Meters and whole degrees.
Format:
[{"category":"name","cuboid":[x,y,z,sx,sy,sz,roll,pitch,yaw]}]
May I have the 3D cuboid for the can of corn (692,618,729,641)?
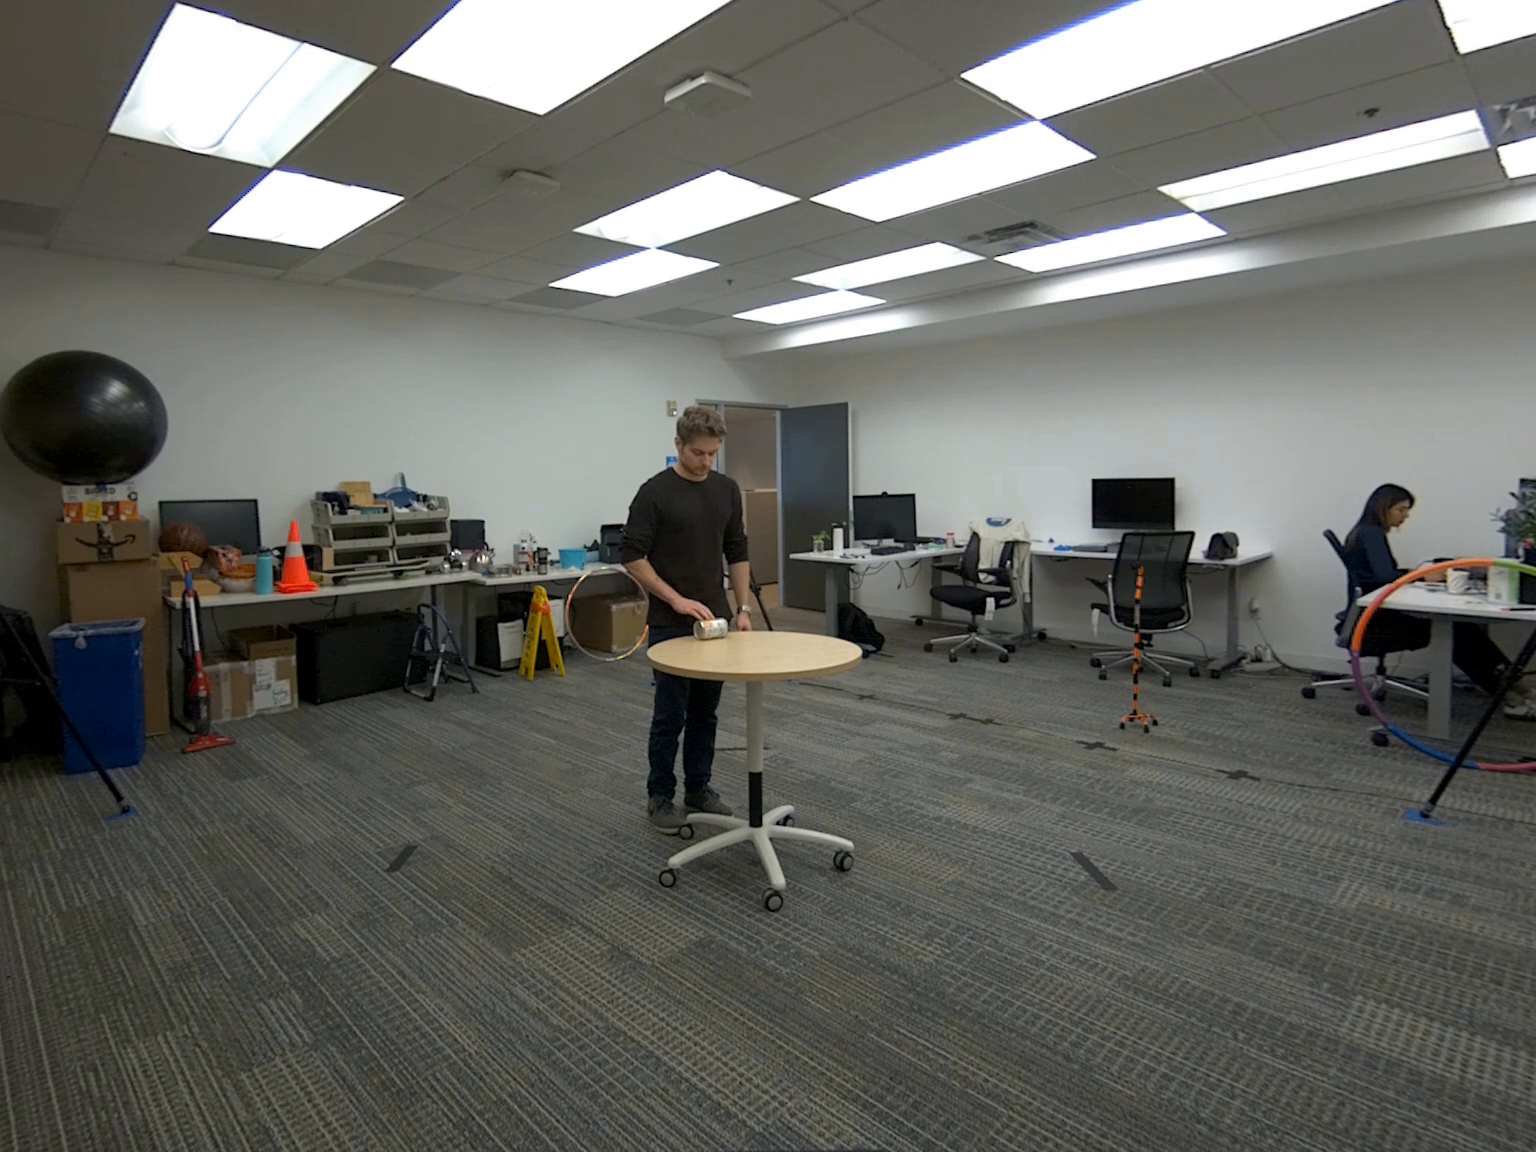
[{"category":"can of corn","cuboid":[-0.219,0.205,3.287,0.108,0.074,0.076,-7,8,-35]}]
